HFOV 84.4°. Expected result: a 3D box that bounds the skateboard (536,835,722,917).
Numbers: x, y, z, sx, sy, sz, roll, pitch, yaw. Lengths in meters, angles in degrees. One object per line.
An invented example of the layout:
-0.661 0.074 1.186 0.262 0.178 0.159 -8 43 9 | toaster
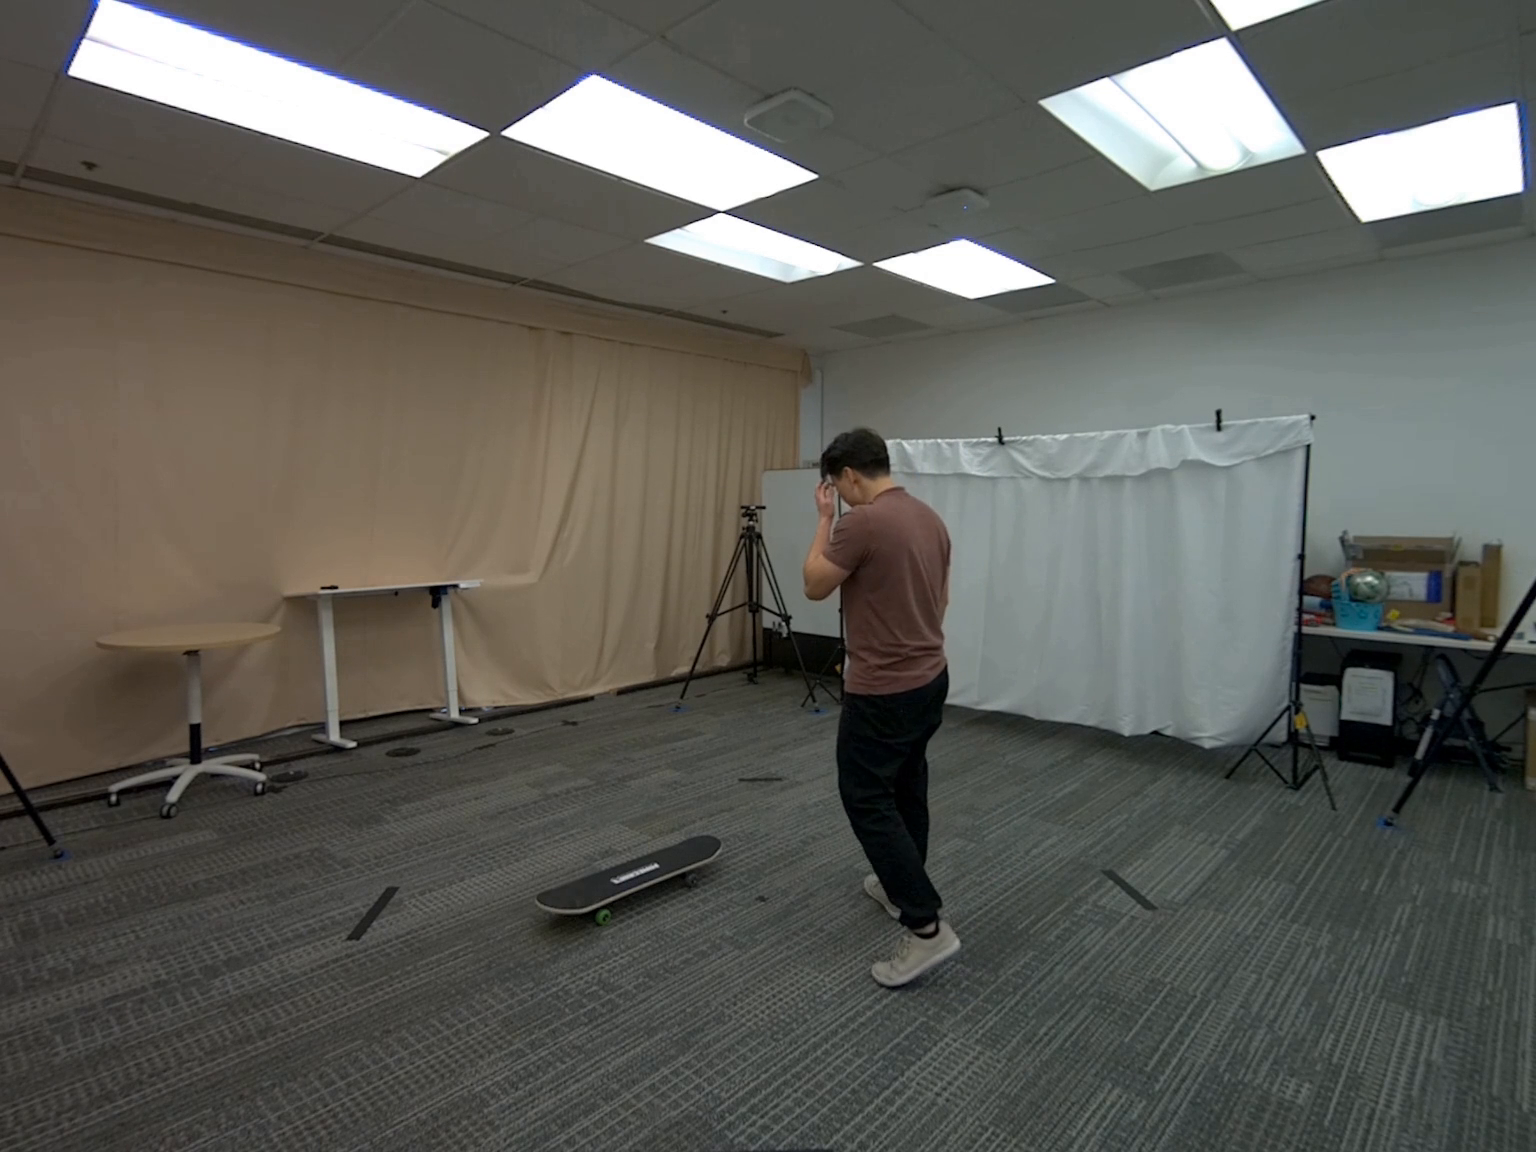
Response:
-0.474 1.093 2.996 0.200 0.110 0.761 5 7 44 | skateboard
